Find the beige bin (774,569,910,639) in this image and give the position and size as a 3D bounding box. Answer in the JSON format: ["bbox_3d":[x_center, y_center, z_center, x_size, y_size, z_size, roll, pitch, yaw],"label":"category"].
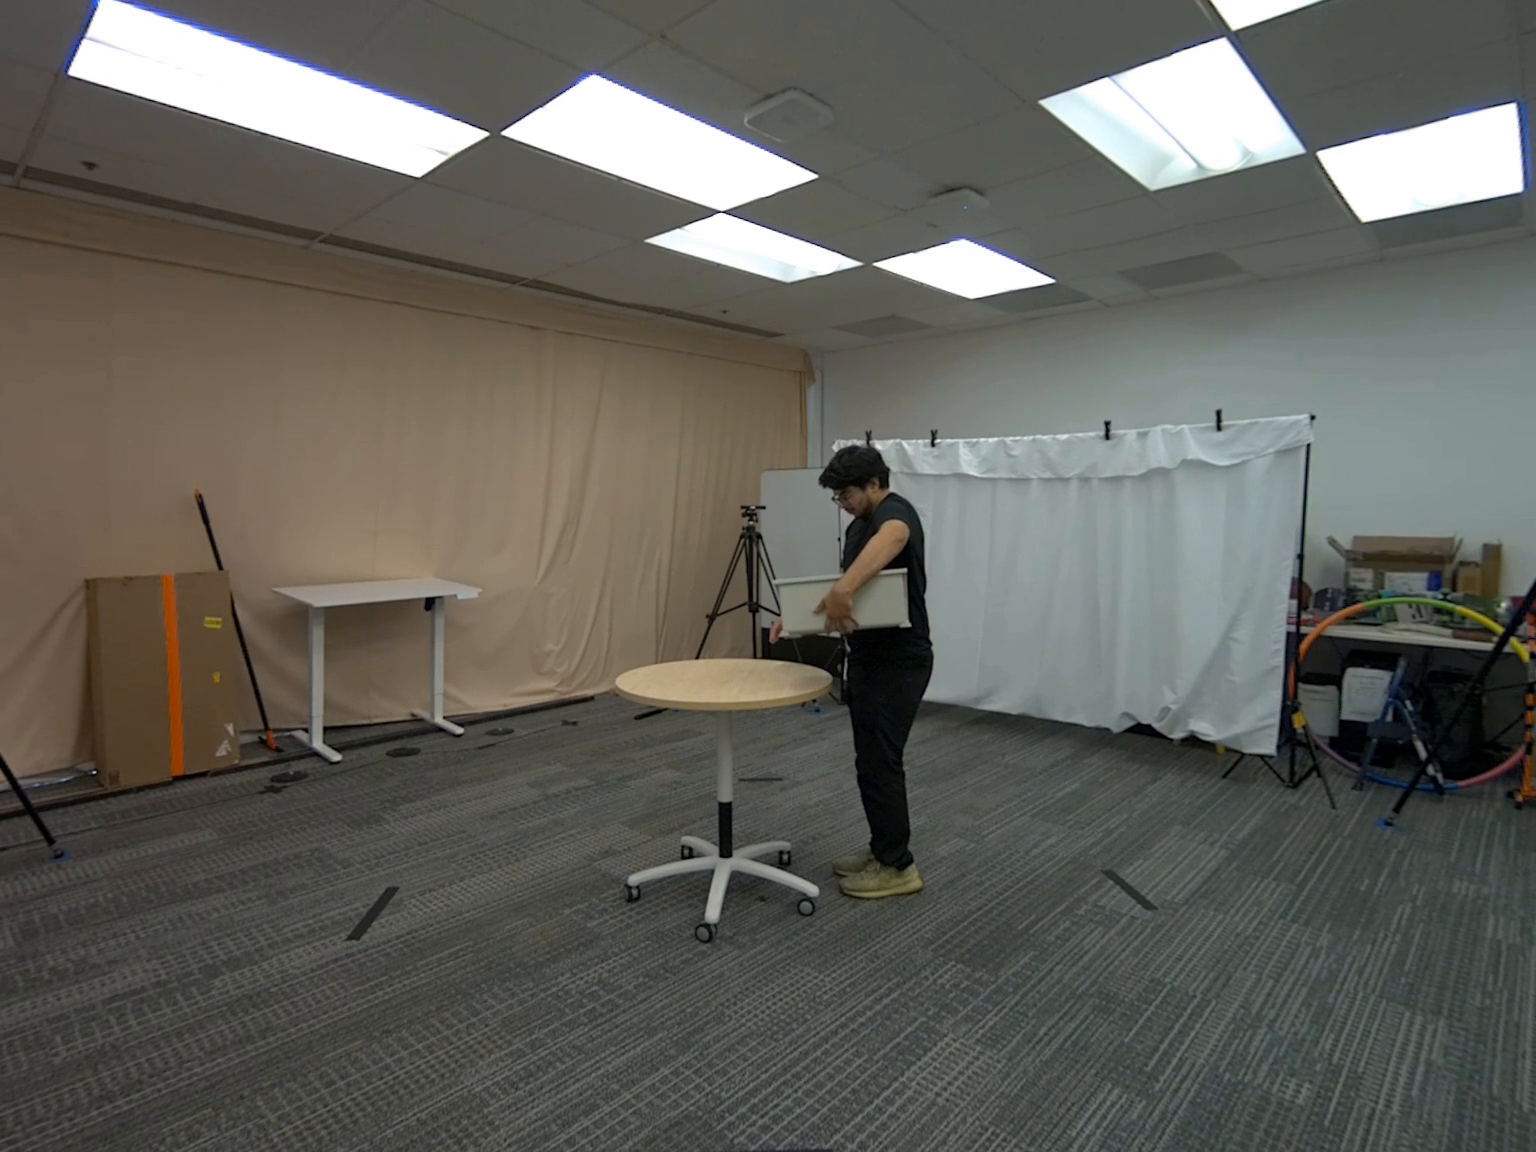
[{"bbox_3d":[0.258,0.100,2.807,0.427,0.189,0.372,-6,-4,10],"label":"beige bin"}]
